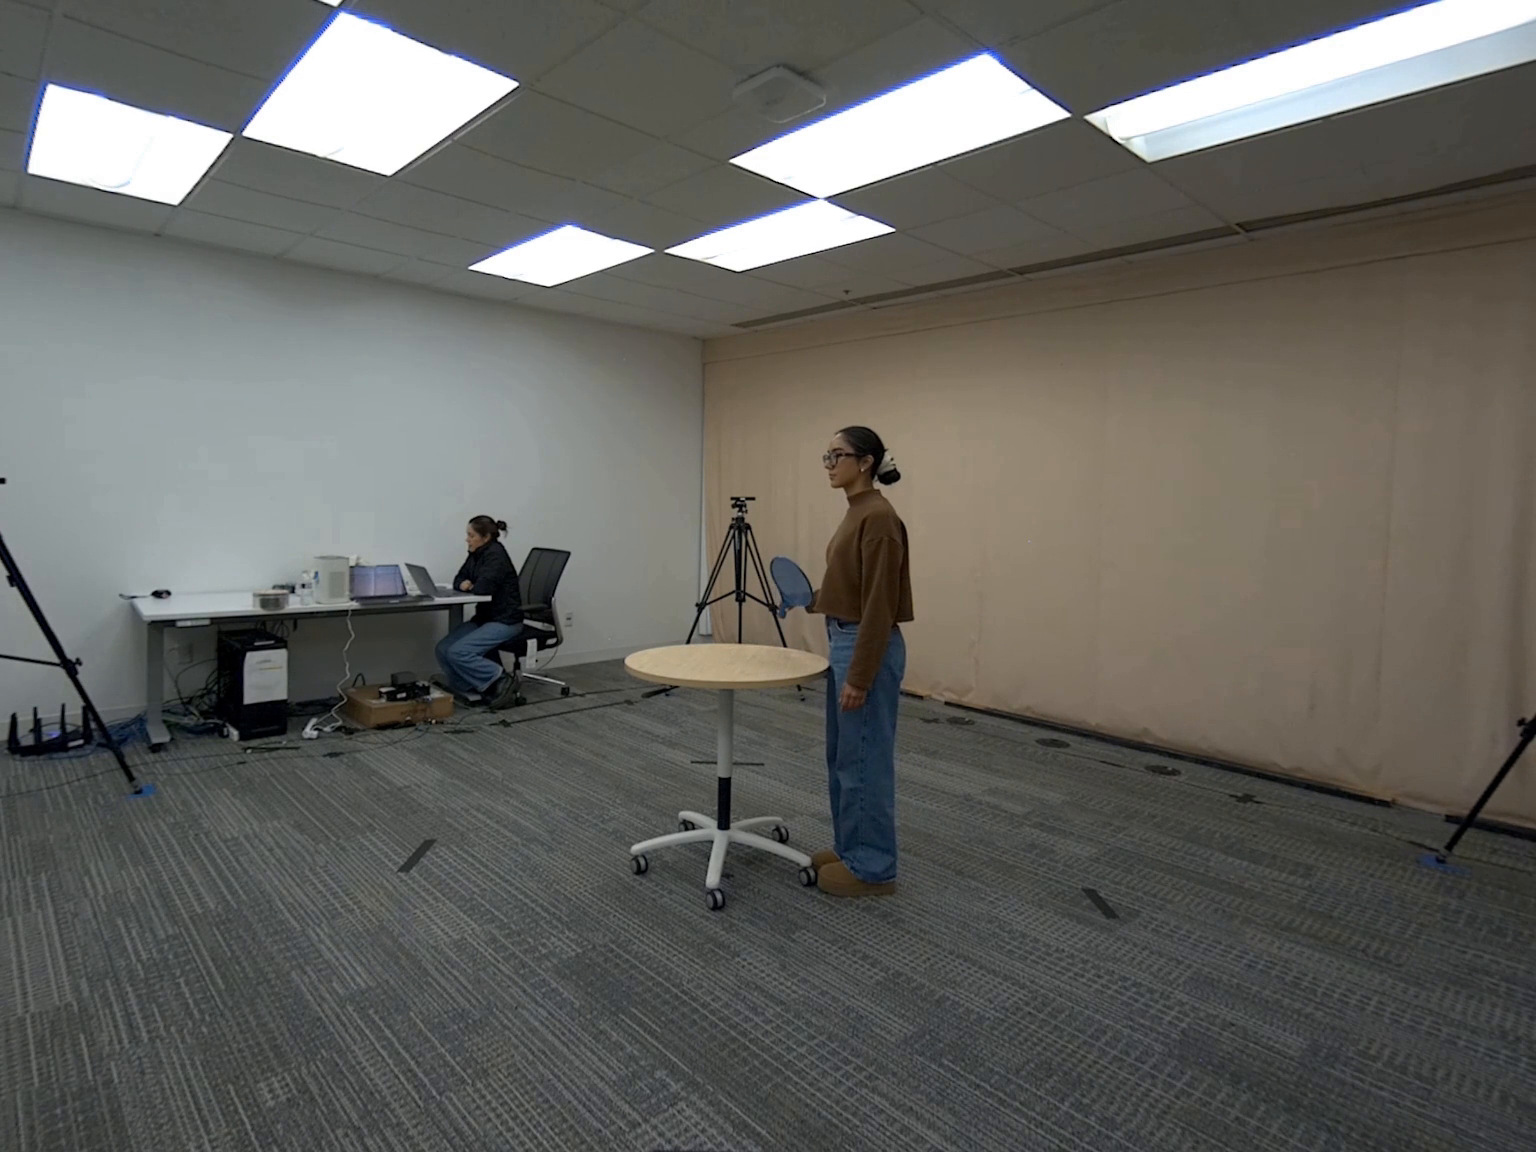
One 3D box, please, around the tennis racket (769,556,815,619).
[{"bbox_3d":[0.084,0.069,3.246,0.031,0.218,0.425,-37,-23,-24],"label":"tennis racket"}]
